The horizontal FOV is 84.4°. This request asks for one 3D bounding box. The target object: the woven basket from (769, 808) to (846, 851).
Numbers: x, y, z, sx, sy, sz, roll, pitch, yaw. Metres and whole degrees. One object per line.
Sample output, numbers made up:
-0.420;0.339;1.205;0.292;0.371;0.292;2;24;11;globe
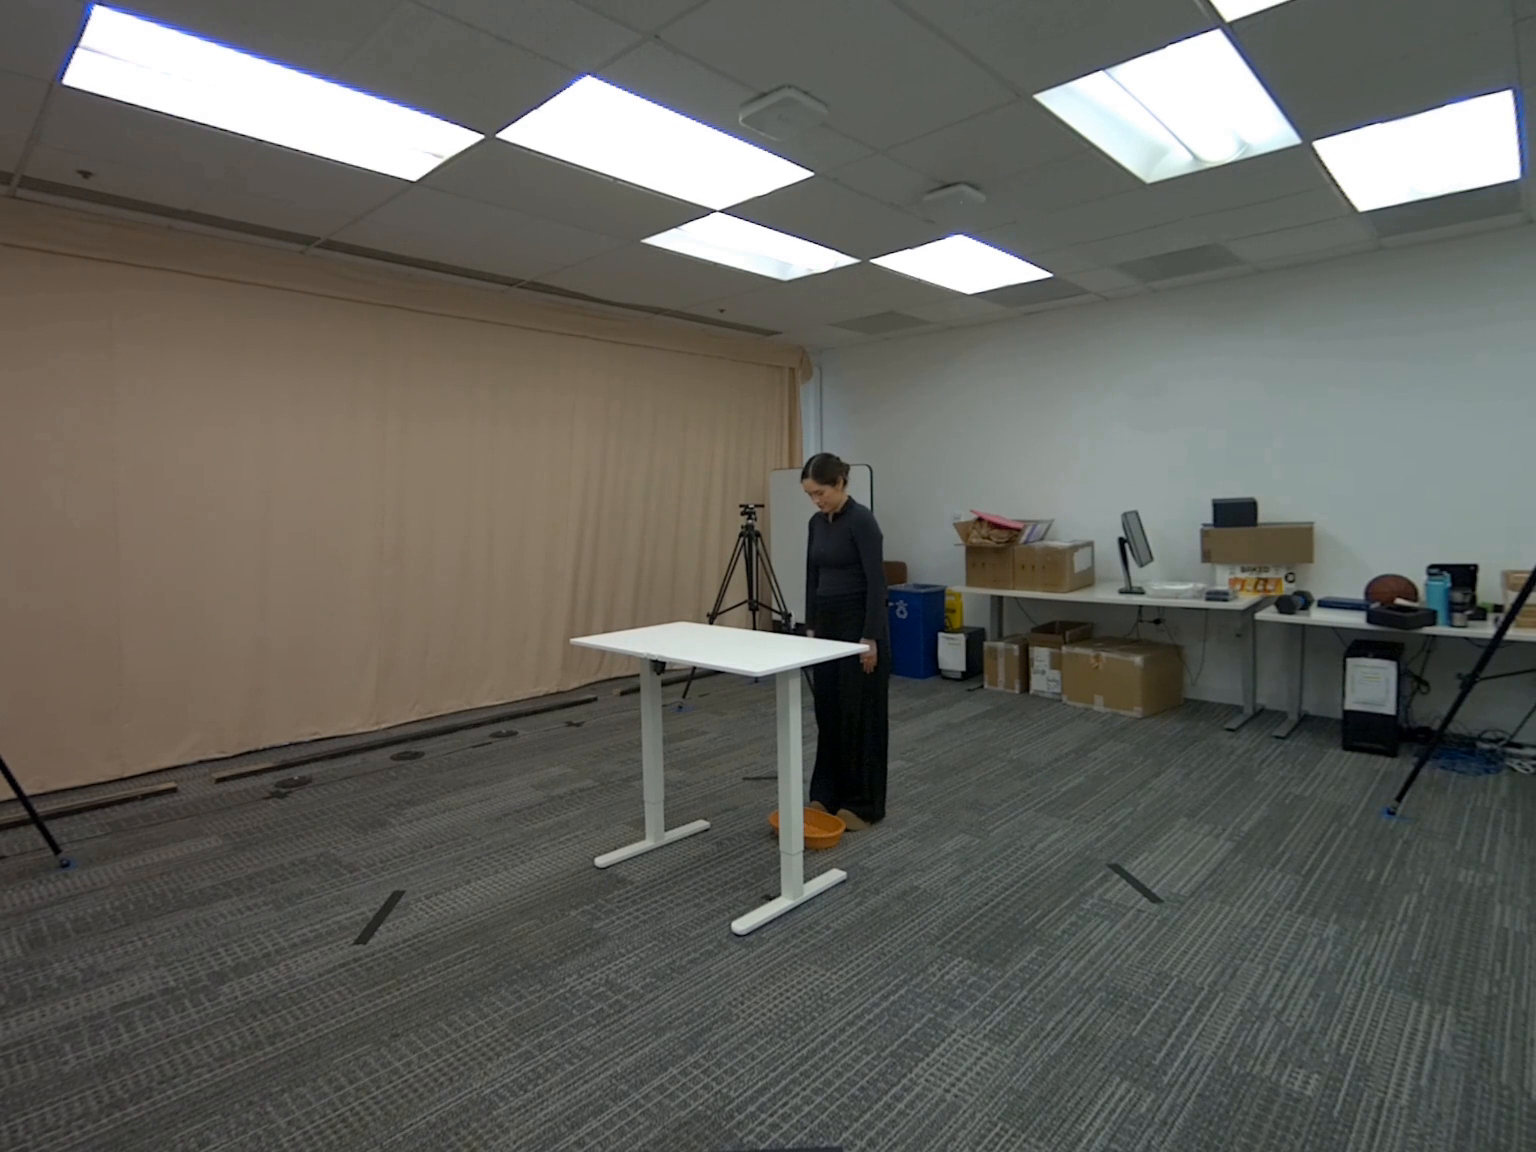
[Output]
0.156;1.046;3.507;0.245;0.073;0.362;-7;7;-40;woven basket
